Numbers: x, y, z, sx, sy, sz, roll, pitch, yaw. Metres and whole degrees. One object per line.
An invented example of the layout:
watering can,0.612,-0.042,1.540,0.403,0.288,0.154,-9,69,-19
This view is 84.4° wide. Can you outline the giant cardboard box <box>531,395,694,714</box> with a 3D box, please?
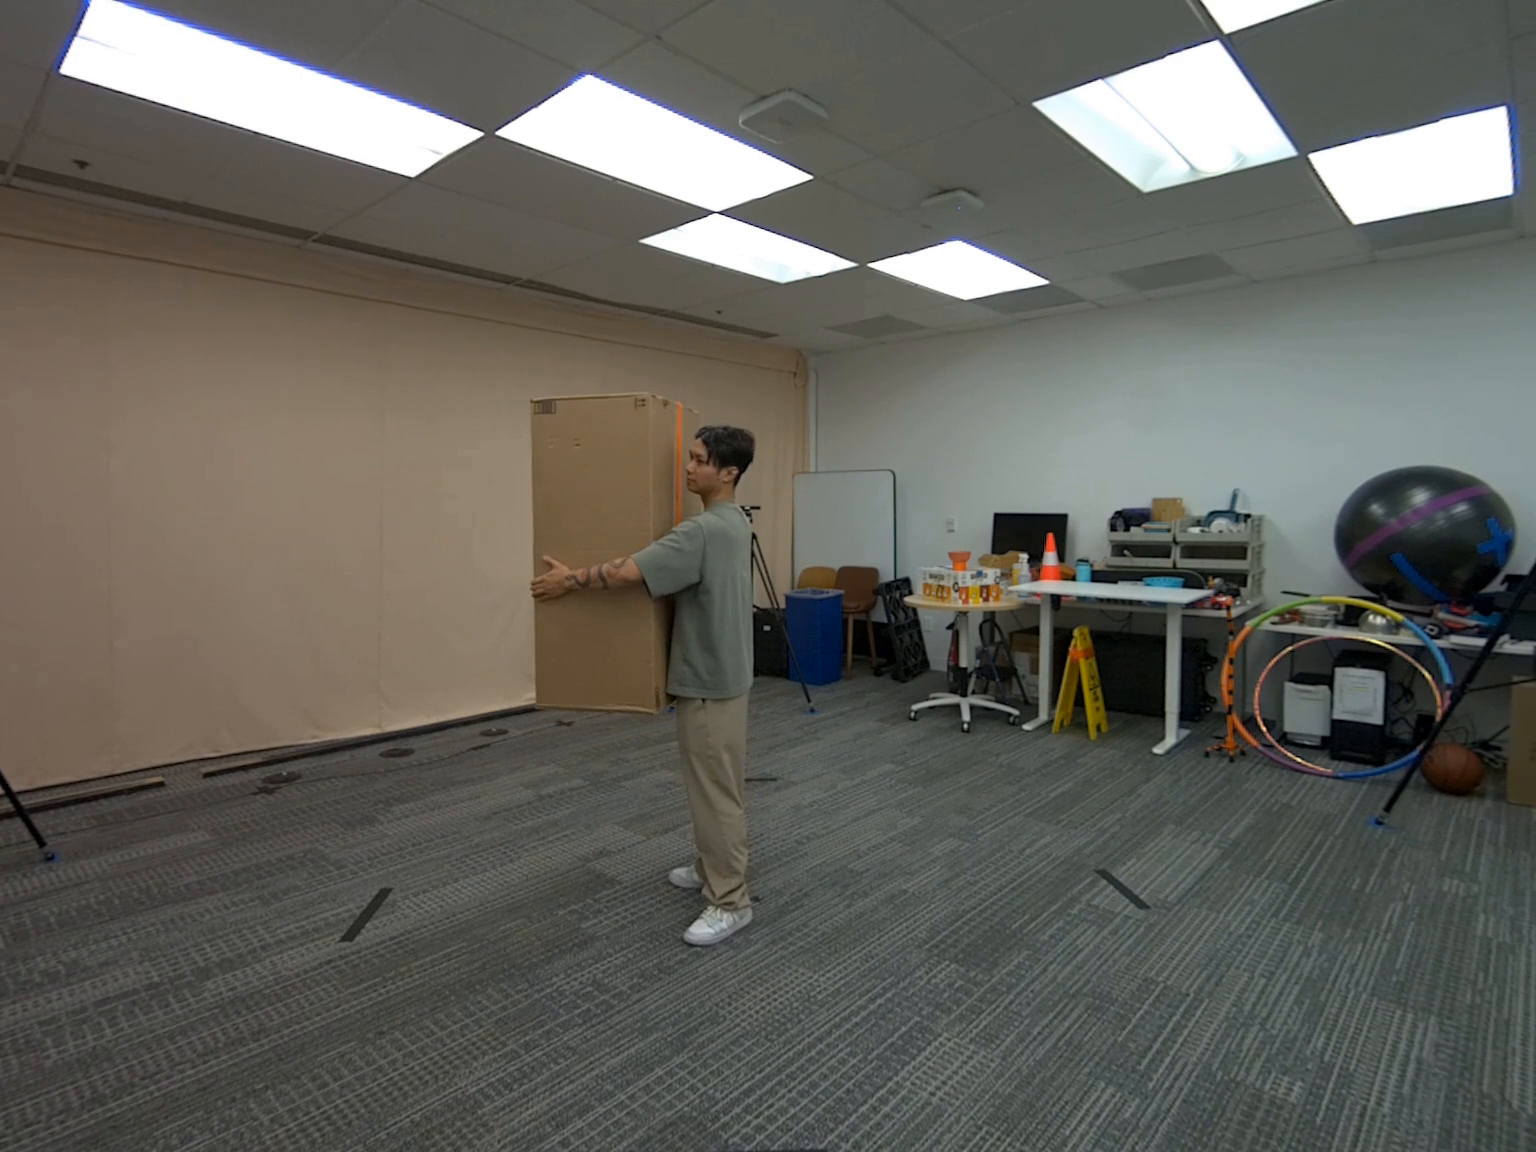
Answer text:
giant cardboard box,-0.510,-0.095,2.982,0.432,1.024,0.571,0,3,11
